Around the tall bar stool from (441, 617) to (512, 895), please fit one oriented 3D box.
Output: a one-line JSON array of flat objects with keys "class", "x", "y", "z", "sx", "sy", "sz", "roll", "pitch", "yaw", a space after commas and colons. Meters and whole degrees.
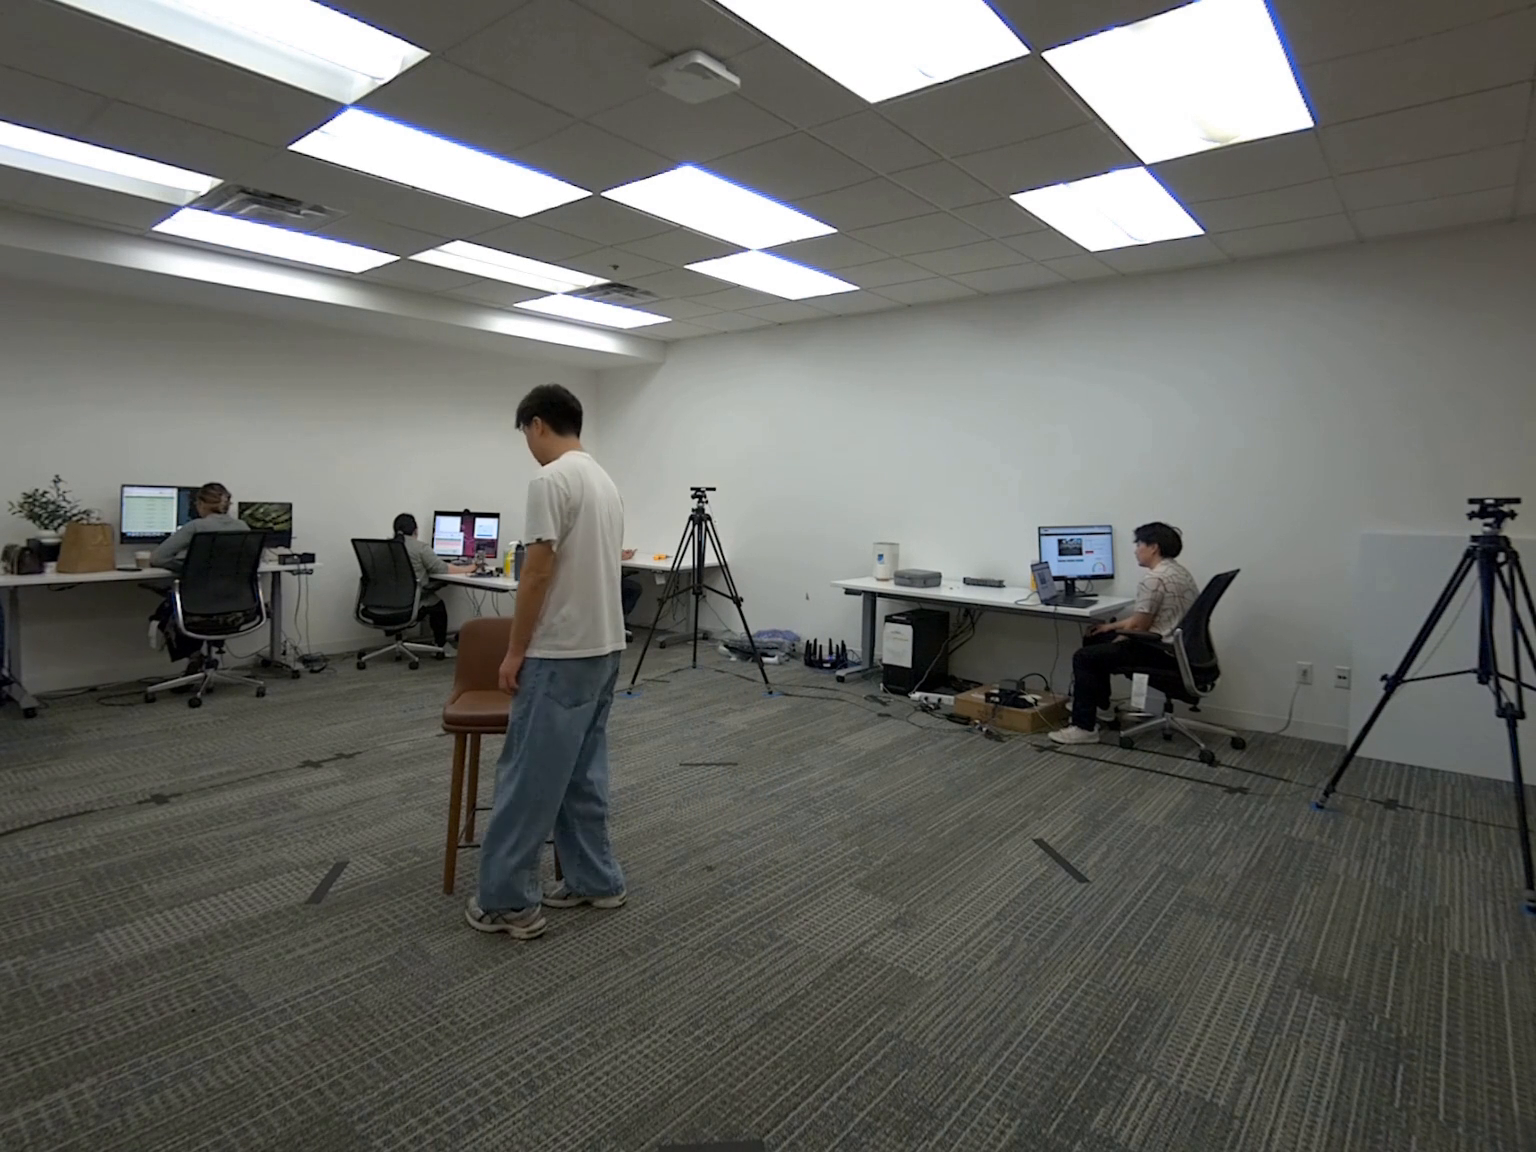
[{"class": "tall bar stool", "x": -0.957, "y": 0.617, "z": 3.118, "sx": 0.451, "sy": 0.889, "sz": 0.473, "roll": 0, "pitch": 1, "yaw": -11}]
